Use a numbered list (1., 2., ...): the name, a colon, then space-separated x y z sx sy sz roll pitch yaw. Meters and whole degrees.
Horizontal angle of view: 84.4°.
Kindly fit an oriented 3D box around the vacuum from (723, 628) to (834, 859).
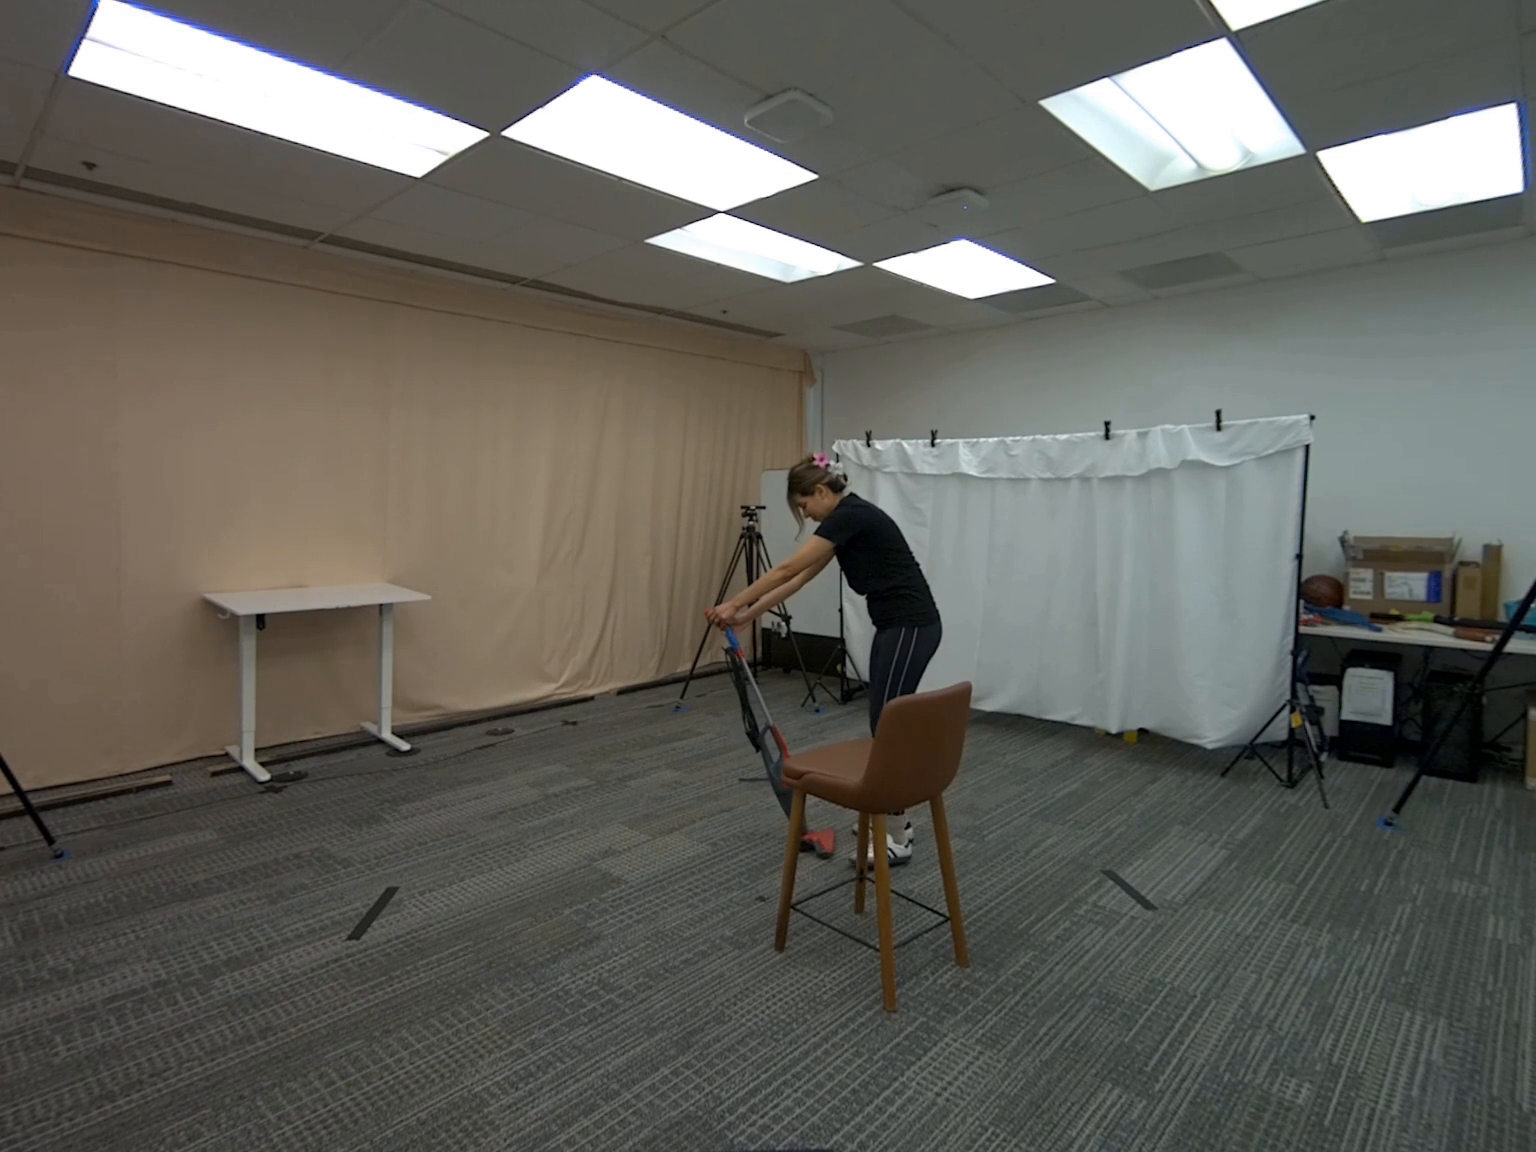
1. vacuum: -0.036 0.632 3.464 0.146 1.053 0.248 -29 -3 23
